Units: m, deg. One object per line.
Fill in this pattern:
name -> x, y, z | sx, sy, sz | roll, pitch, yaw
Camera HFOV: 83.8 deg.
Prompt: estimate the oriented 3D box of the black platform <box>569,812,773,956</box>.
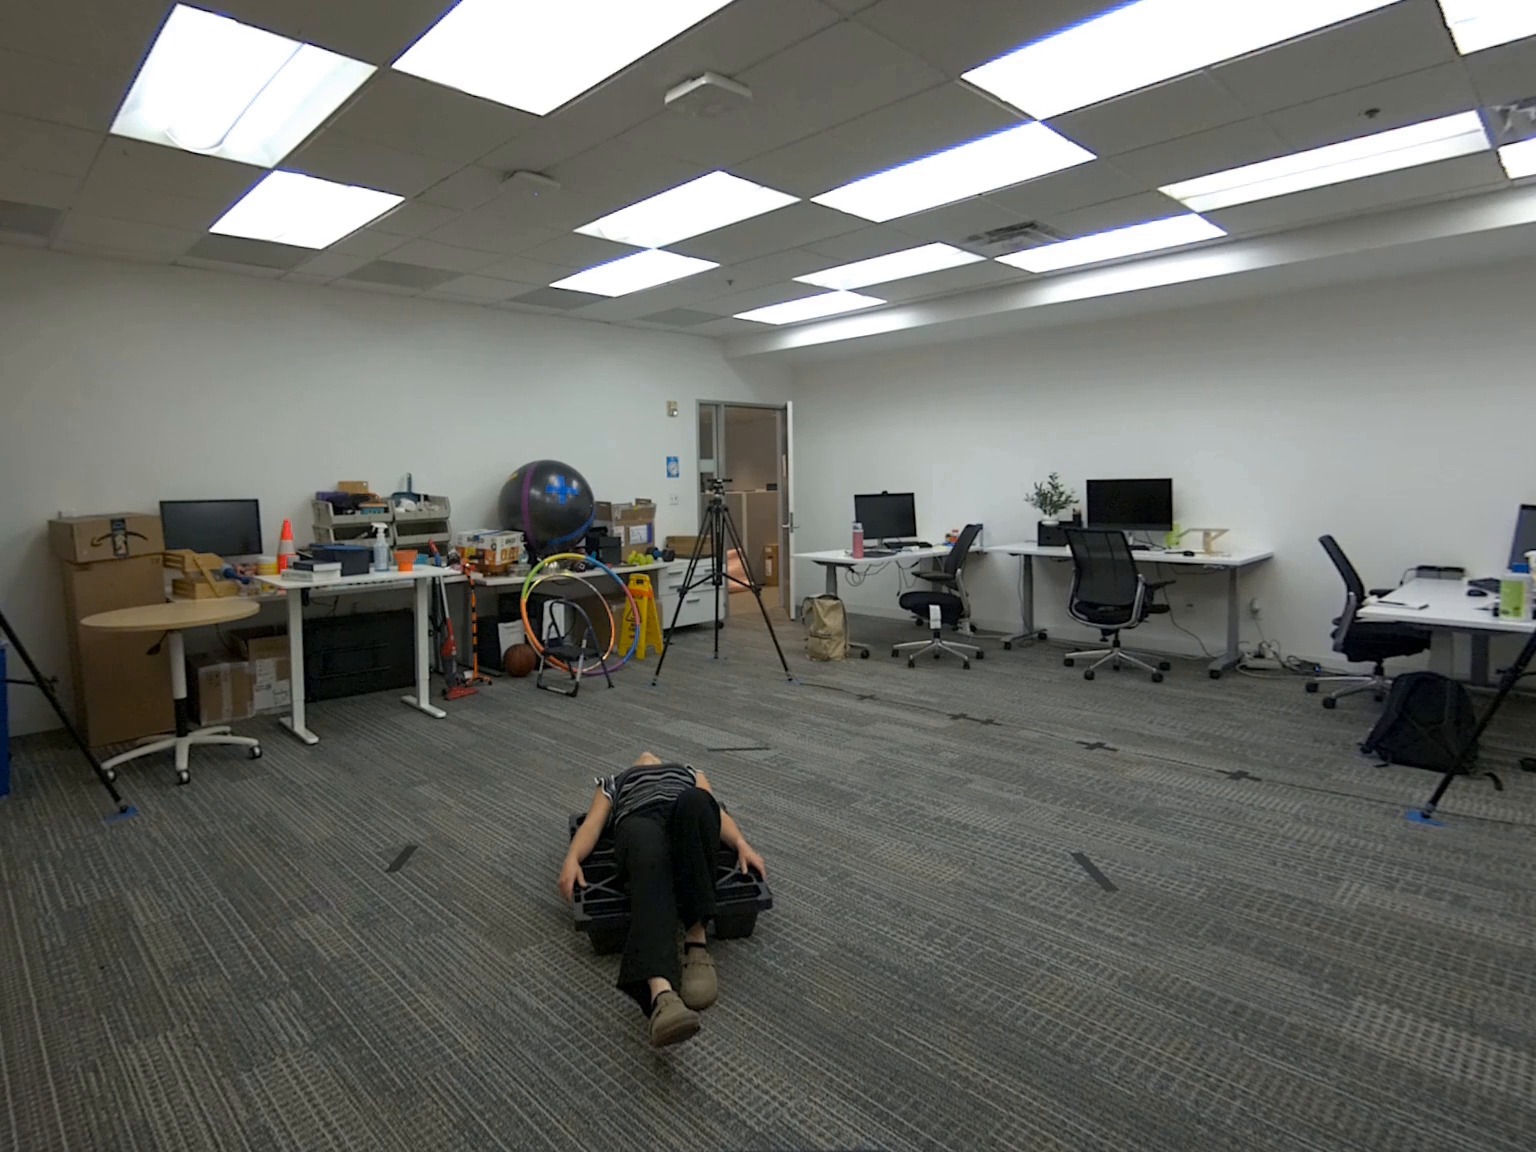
black platform -> -0.376, 1.007, 2.912 | 0.598, 0.142, 0.819 | -1, 7, -13
